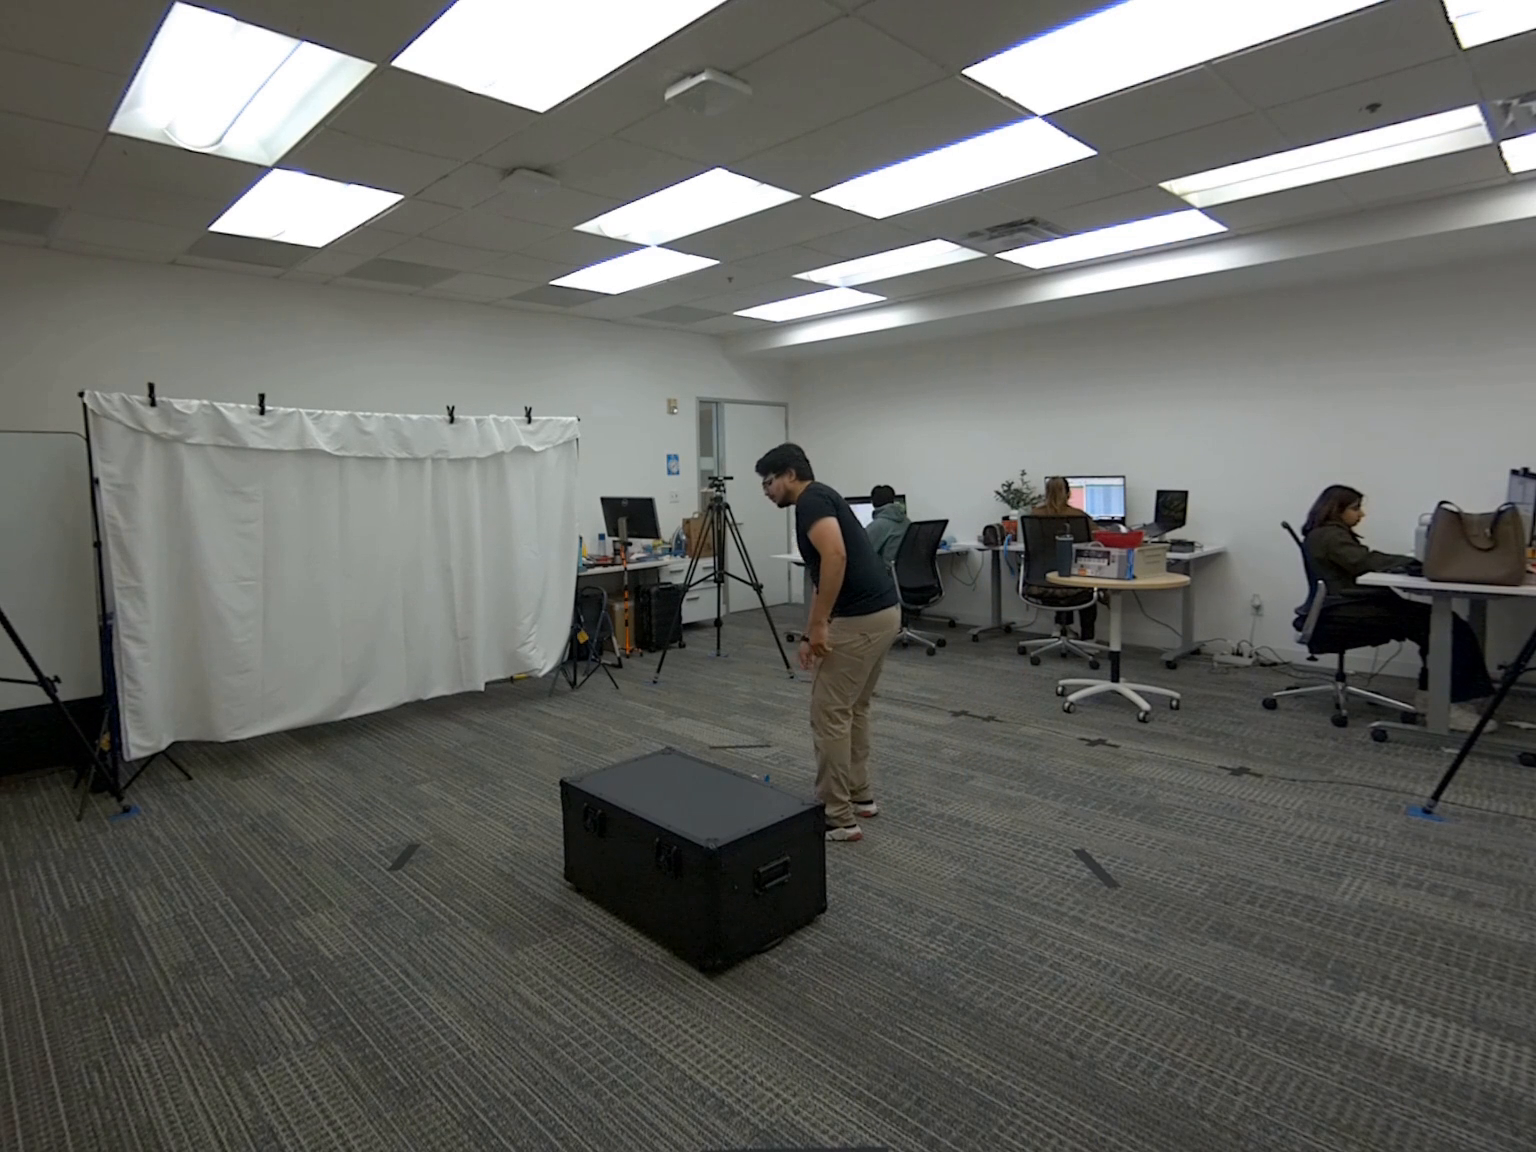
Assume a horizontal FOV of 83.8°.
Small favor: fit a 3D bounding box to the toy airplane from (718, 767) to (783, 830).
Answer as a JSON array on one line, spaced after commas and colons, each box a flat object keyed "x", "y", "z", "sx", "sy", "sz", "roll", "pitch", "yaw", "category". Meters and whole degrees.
[{"x": -0.073, "y": 0.916, "z": 3.543, "sx": 0.252, "sy": 0.155, "sz": 0.260, "roll": -1, "pitch": 7, "yaw": 1, "category": "toy airplane"}]
